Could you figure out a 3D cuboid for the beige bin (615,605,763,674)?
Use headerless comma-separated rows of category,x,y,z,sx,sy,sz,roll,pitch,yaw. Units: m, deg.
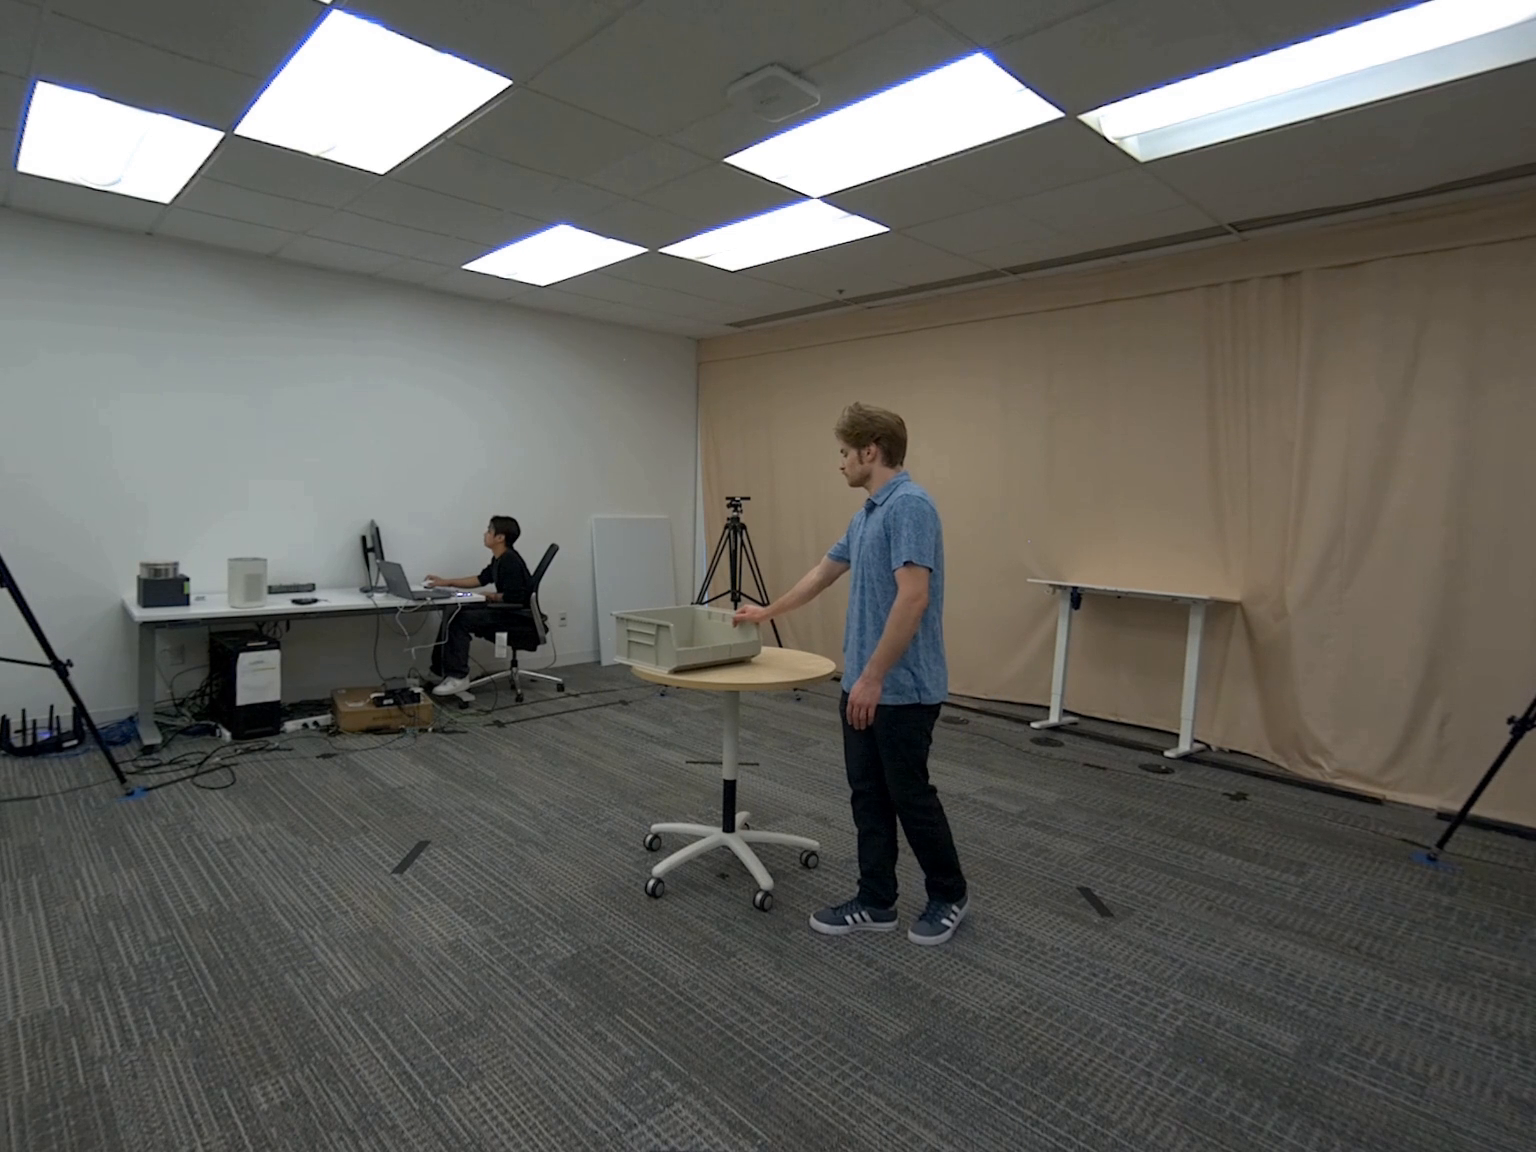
beige bin,-0.303,0.230,3.101,0.387,0.188,0.413,4,6,45
